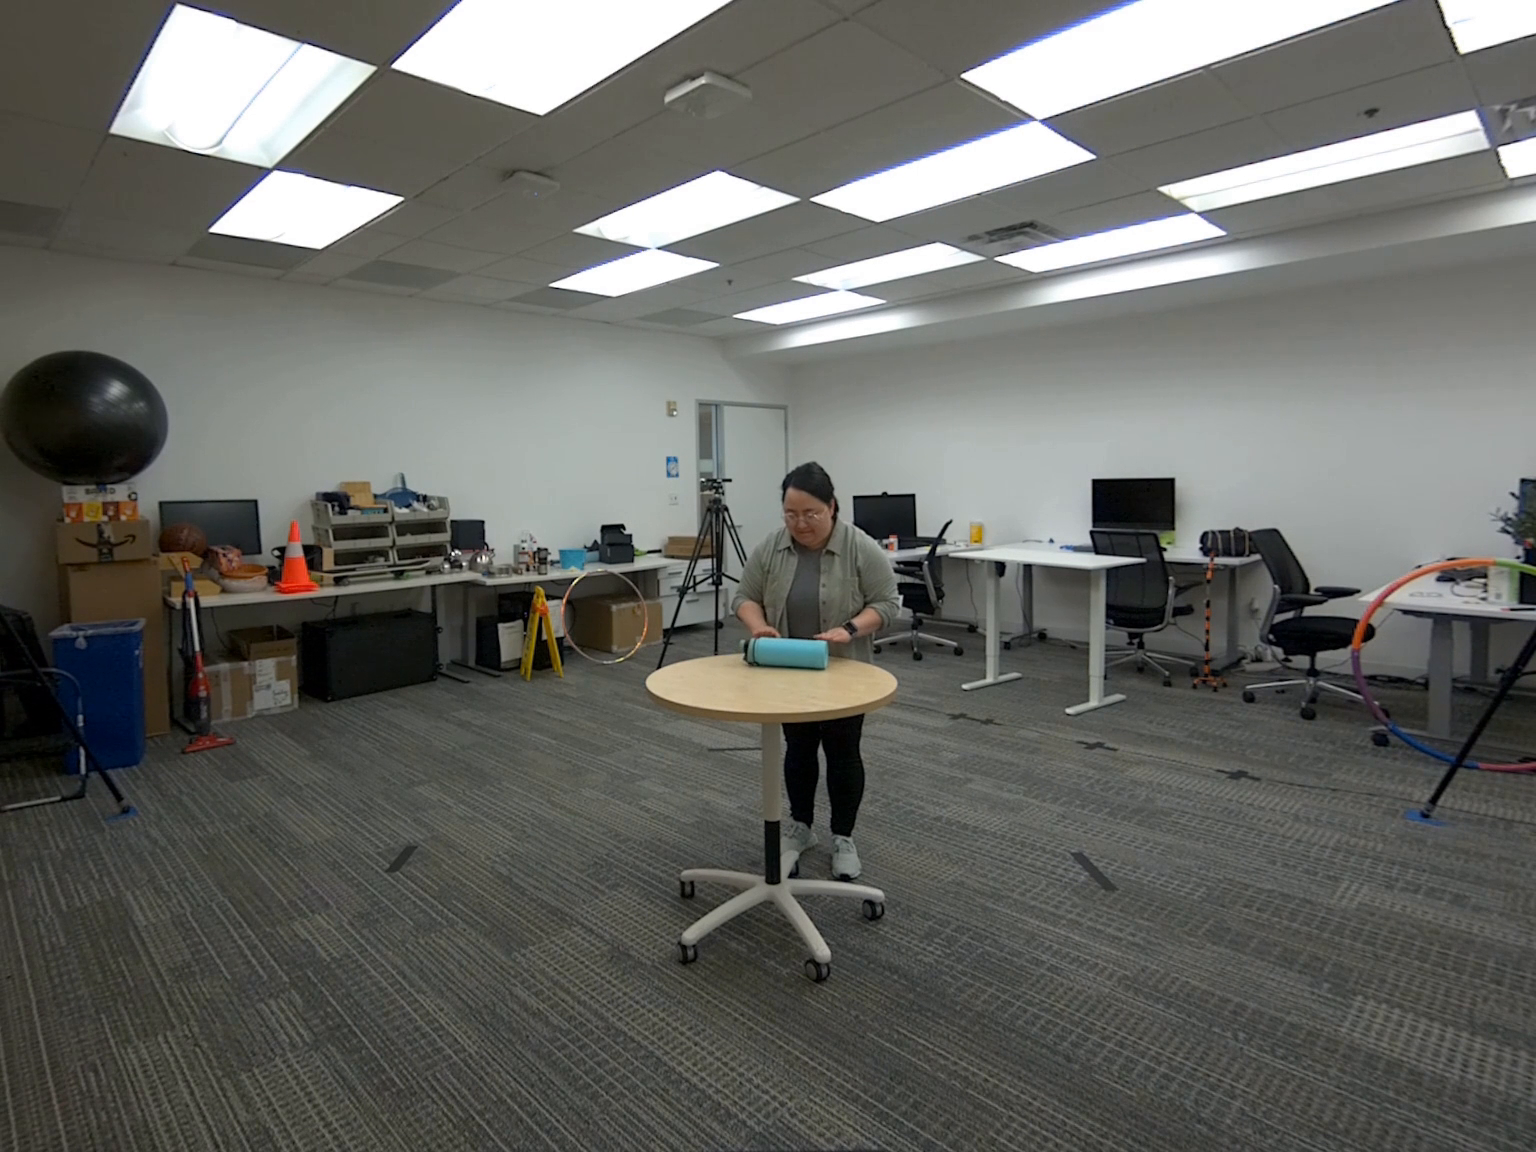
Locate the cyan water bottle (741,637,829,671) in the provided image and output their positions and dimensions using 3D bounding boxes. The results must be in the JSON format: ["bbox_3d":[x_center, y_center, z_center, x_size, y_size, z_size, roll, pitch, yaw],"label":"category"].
[{"bbox_3d":[0.055,0.254,2.781,0.287,0.092,0.091,0,5,13],"label":"cyan water bottle"}]
